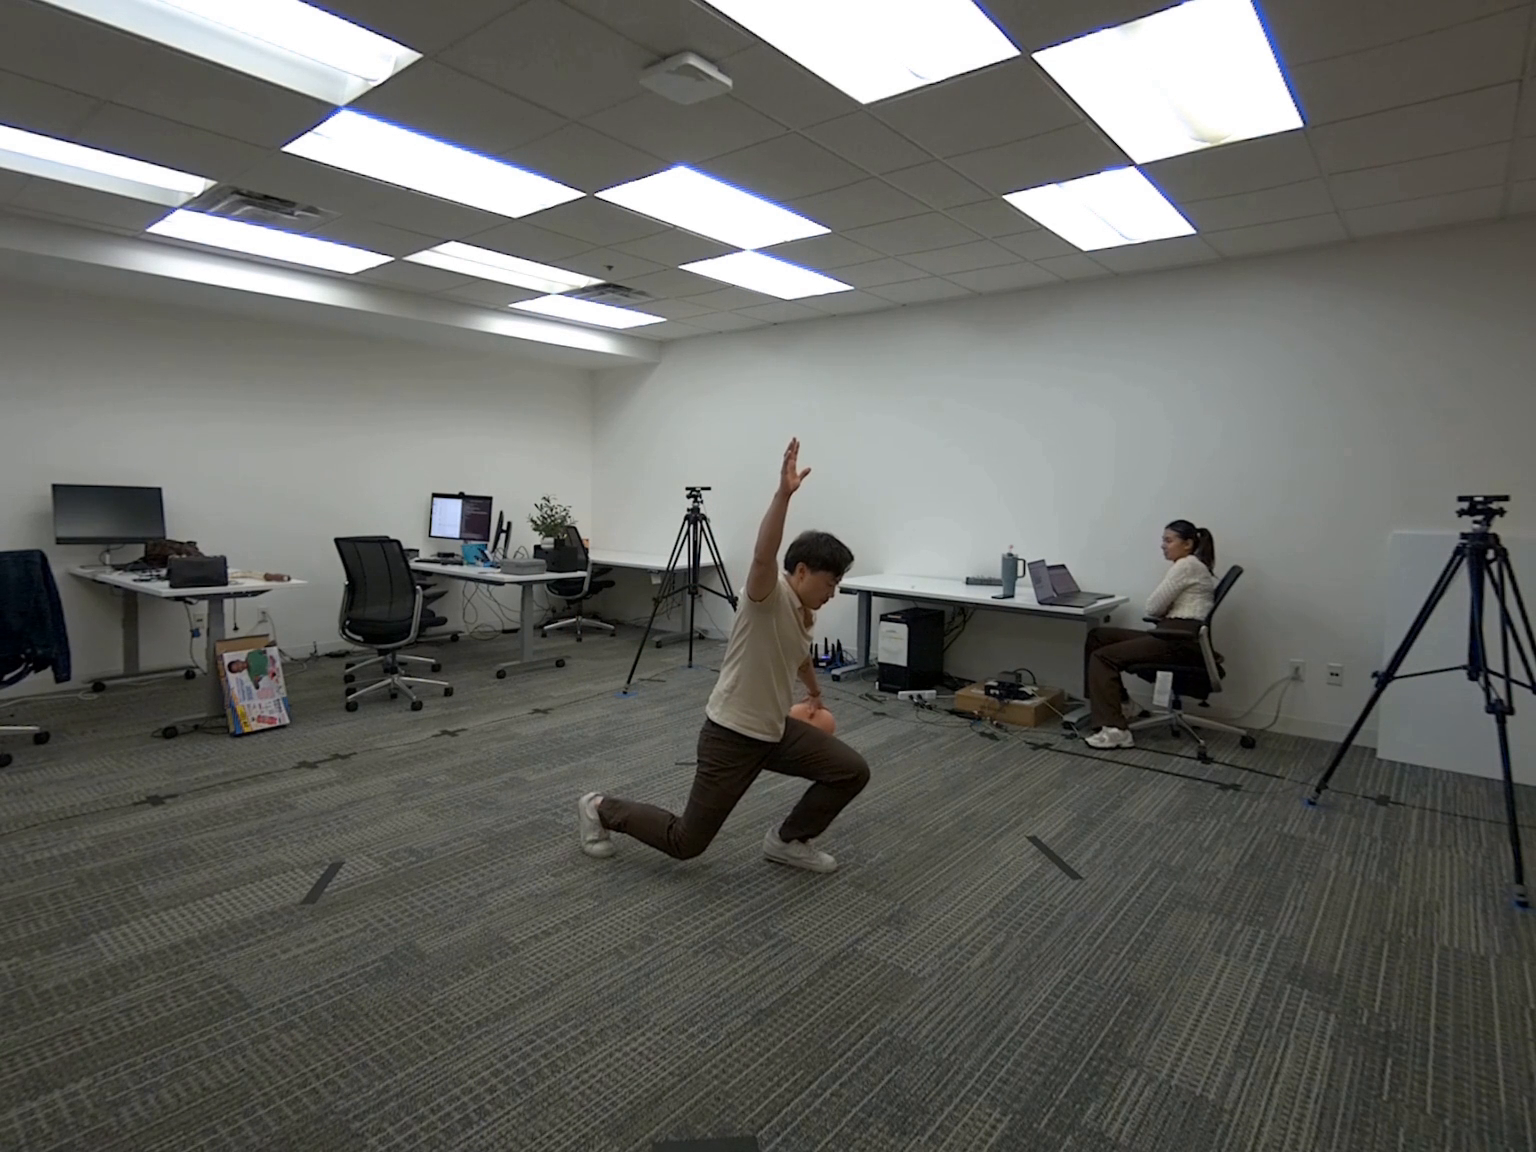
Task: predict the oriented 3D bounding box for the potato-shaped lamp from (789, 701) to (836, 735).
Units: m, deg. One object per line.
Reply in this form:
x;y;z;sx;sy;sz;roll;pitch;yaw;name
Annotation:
0.179;0.625;3.608;0.201;0.174;0.160;-7;-12;14;potato-shaped lamp
